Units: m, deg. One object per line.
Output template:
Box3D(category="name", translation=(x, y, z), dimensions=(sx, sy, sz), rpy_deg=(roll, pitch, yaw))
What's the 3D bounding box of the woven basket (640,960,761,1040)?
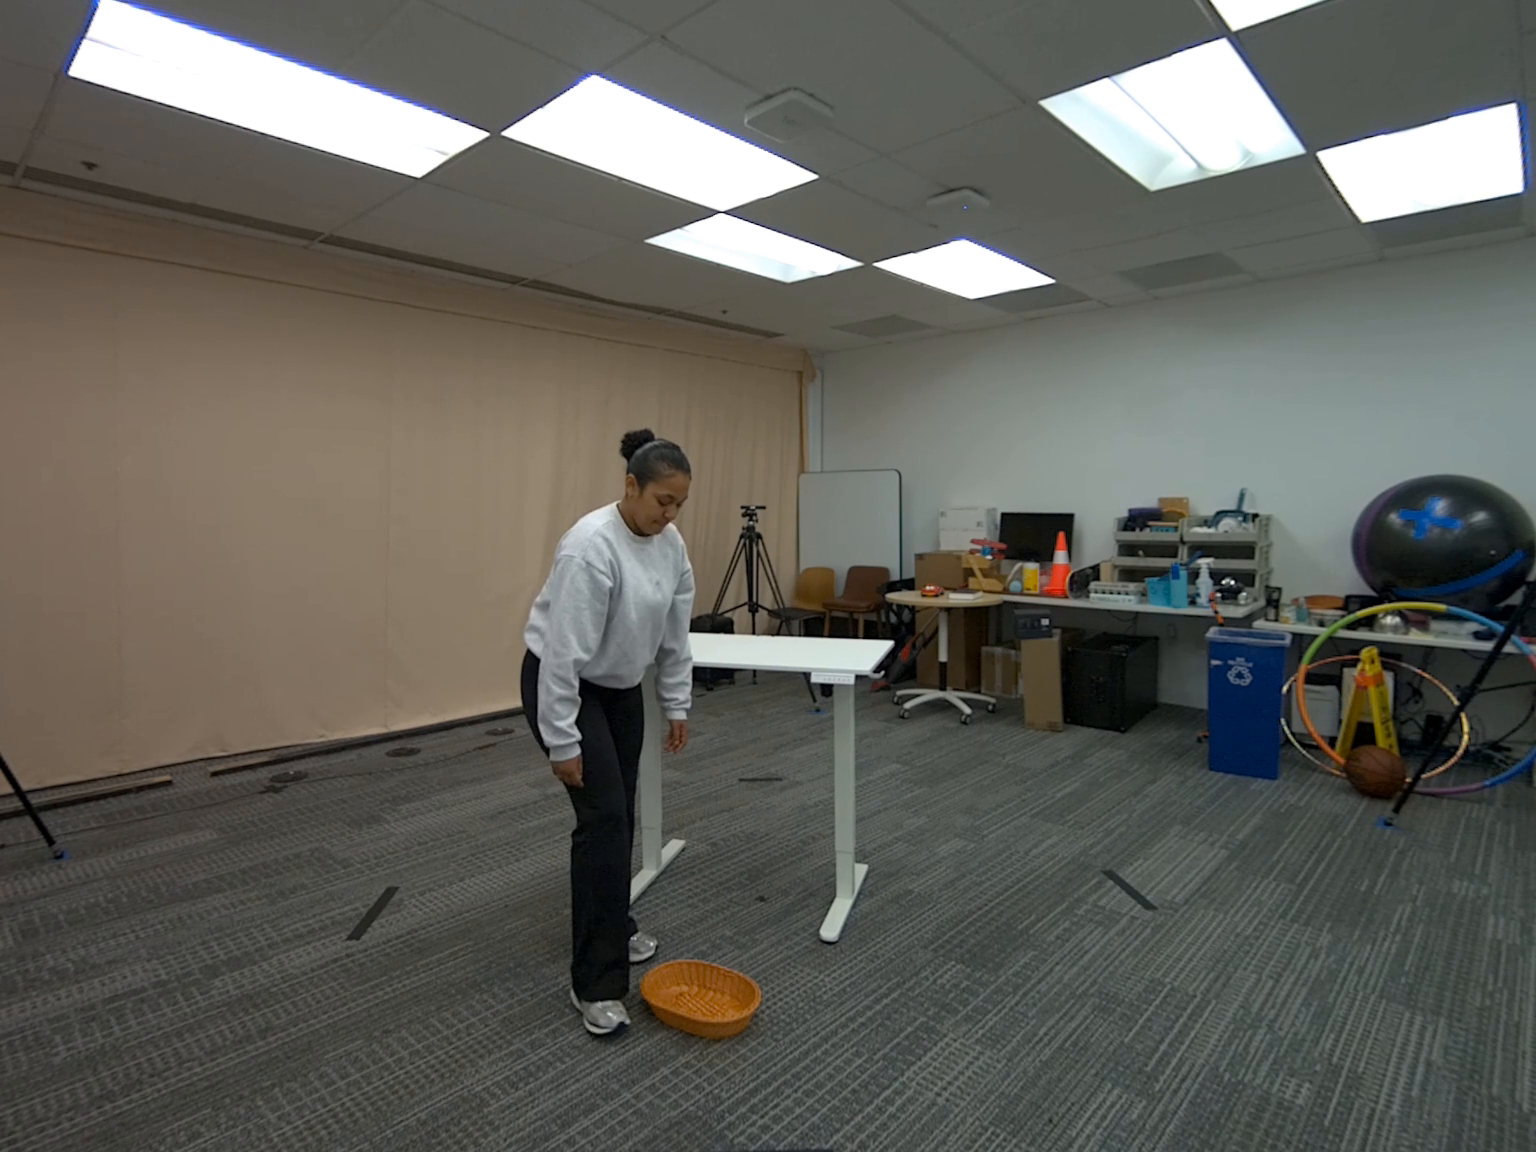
Box3D(category="woven basket", translation=(-0.185, 1.162, 2.315), dimensions=(0.361, 0.073, 0.245), rpy_deg=(2, 5, 32))
